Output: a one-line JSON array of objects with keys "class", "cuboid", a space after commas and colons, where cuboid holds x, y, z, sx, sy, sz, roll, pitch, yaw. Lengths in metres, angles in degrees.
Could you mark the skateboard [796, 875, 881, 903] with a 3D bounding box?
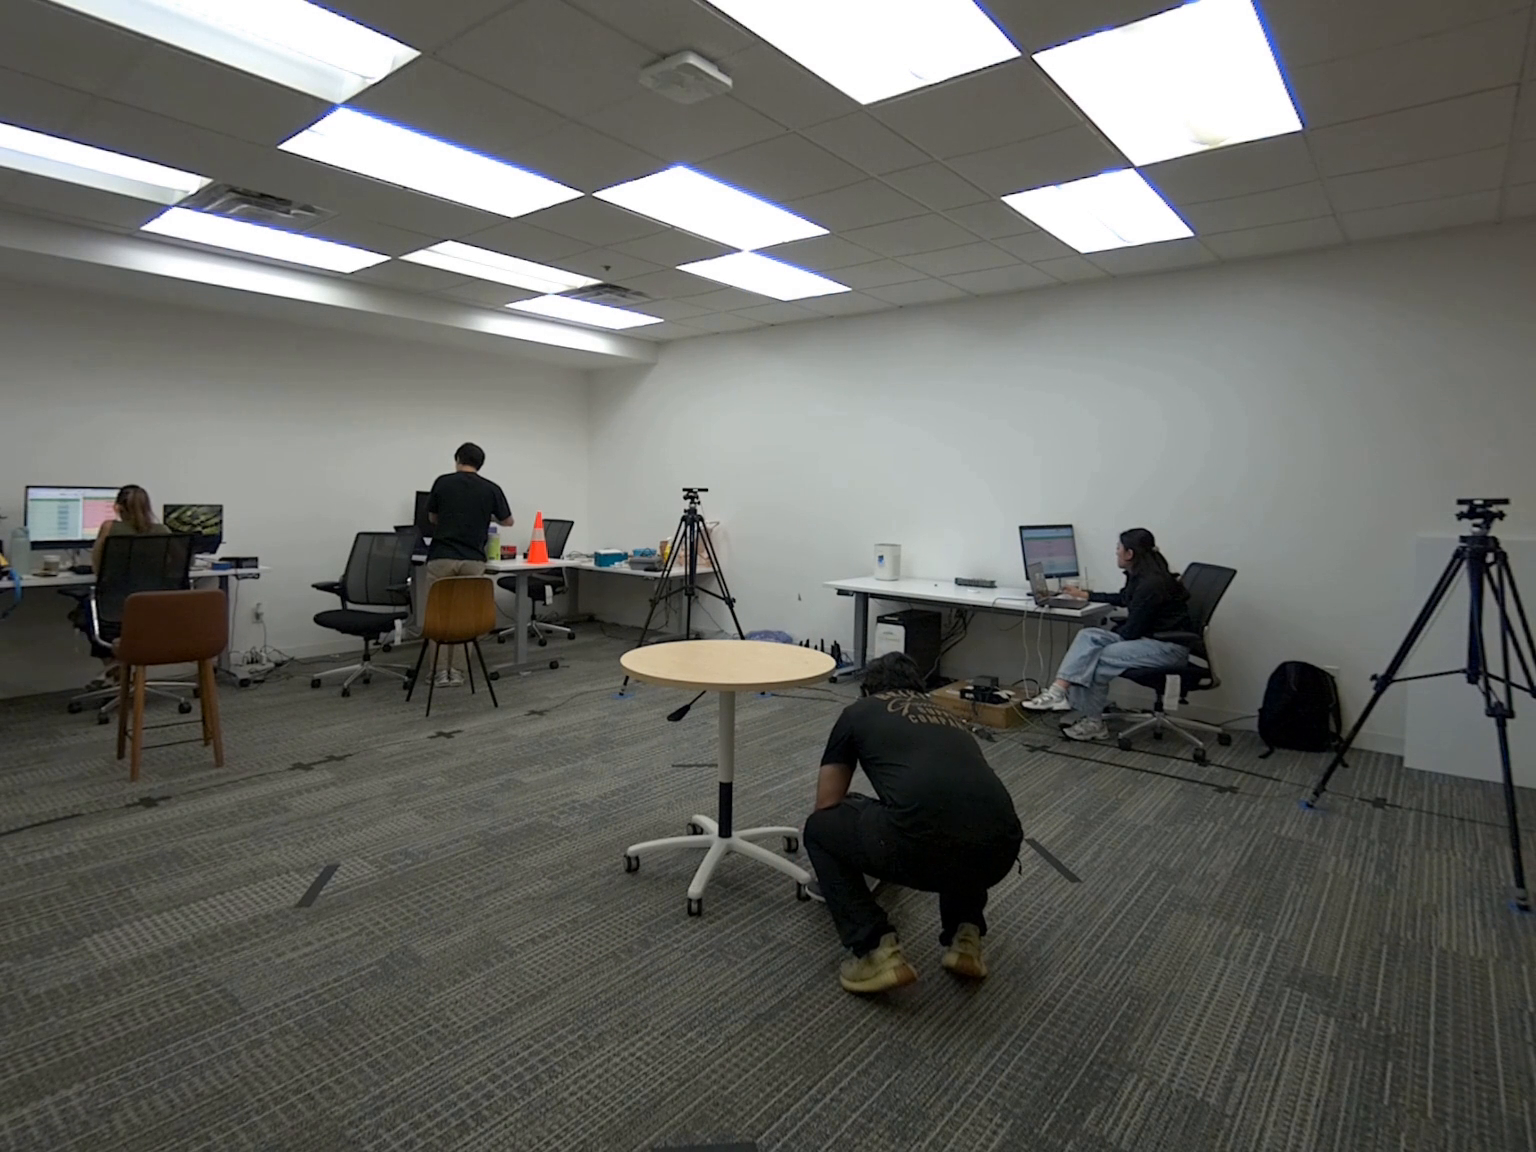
[{"class": "skateboard", "cuboid": [0.325, 1.027, 3.028, 0.199, 0.110, 0.766, 5, 6, 28]}]
